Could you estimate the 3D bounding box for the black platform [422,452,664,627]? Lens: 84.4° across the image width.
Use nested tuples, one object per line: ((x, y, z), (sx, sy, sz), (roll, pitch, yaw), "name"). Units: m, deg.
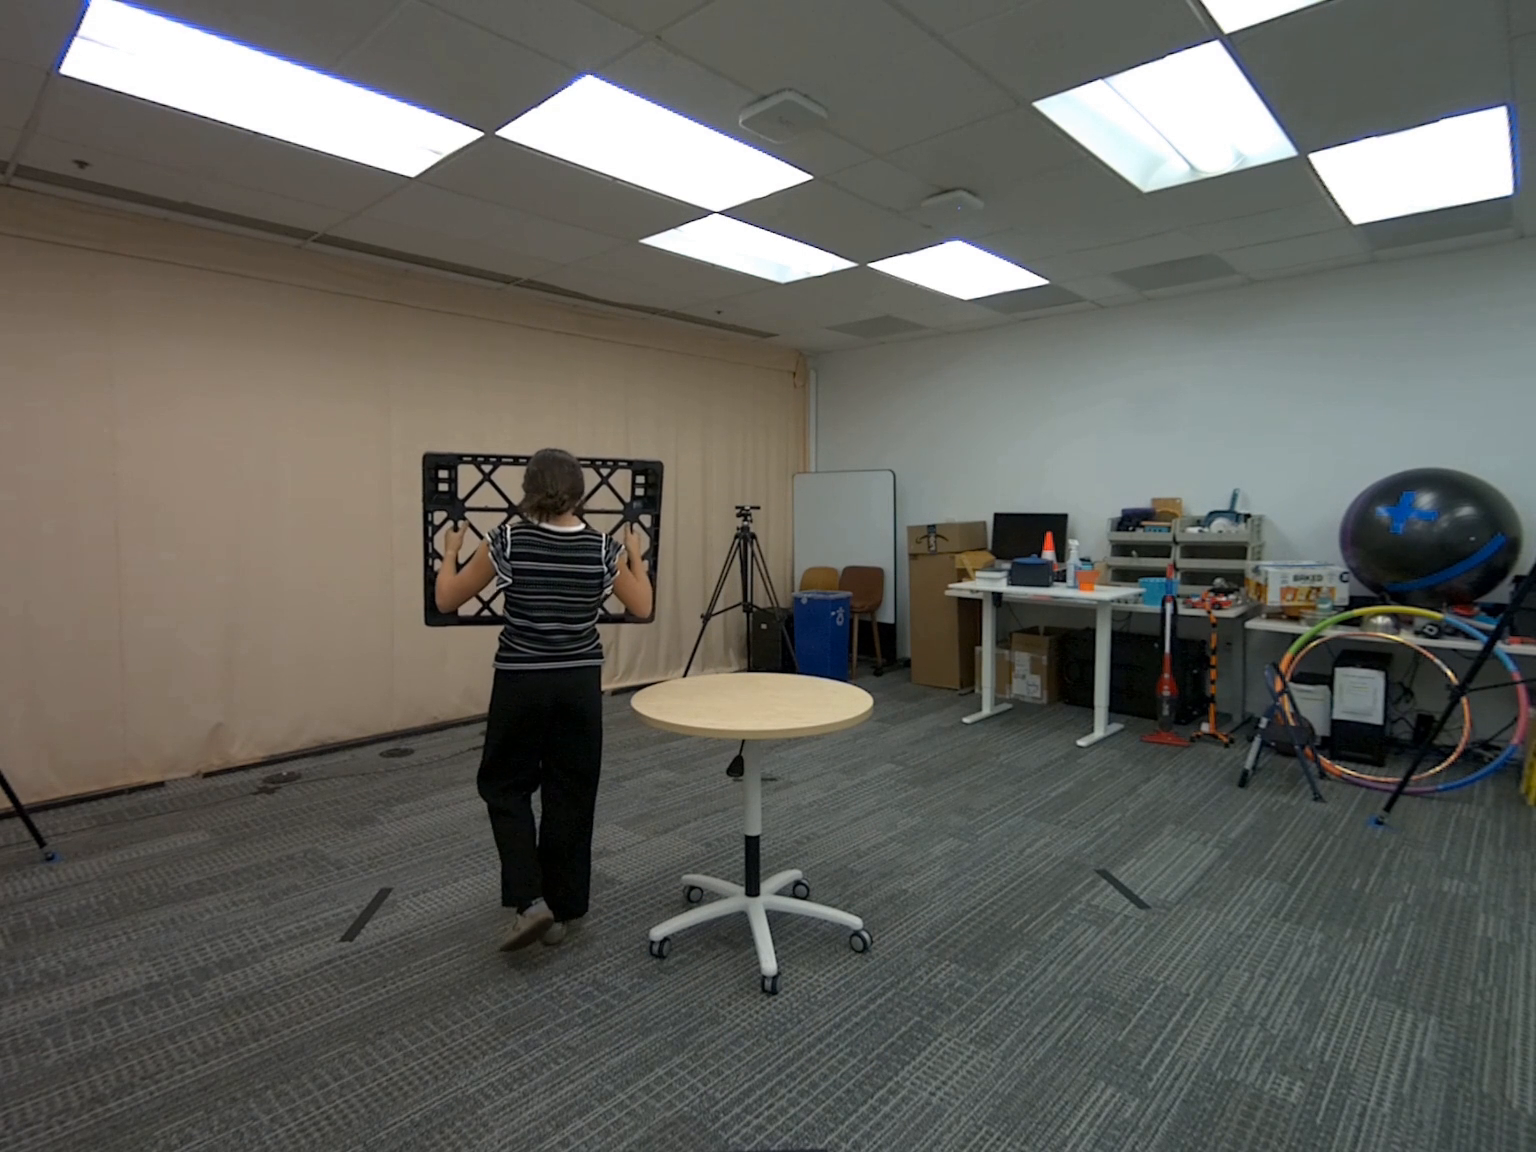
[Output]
((-0.787, -0.128, 2.948), (0.793, 0.601, 0.146), (0, 13, -14), "black platform")
